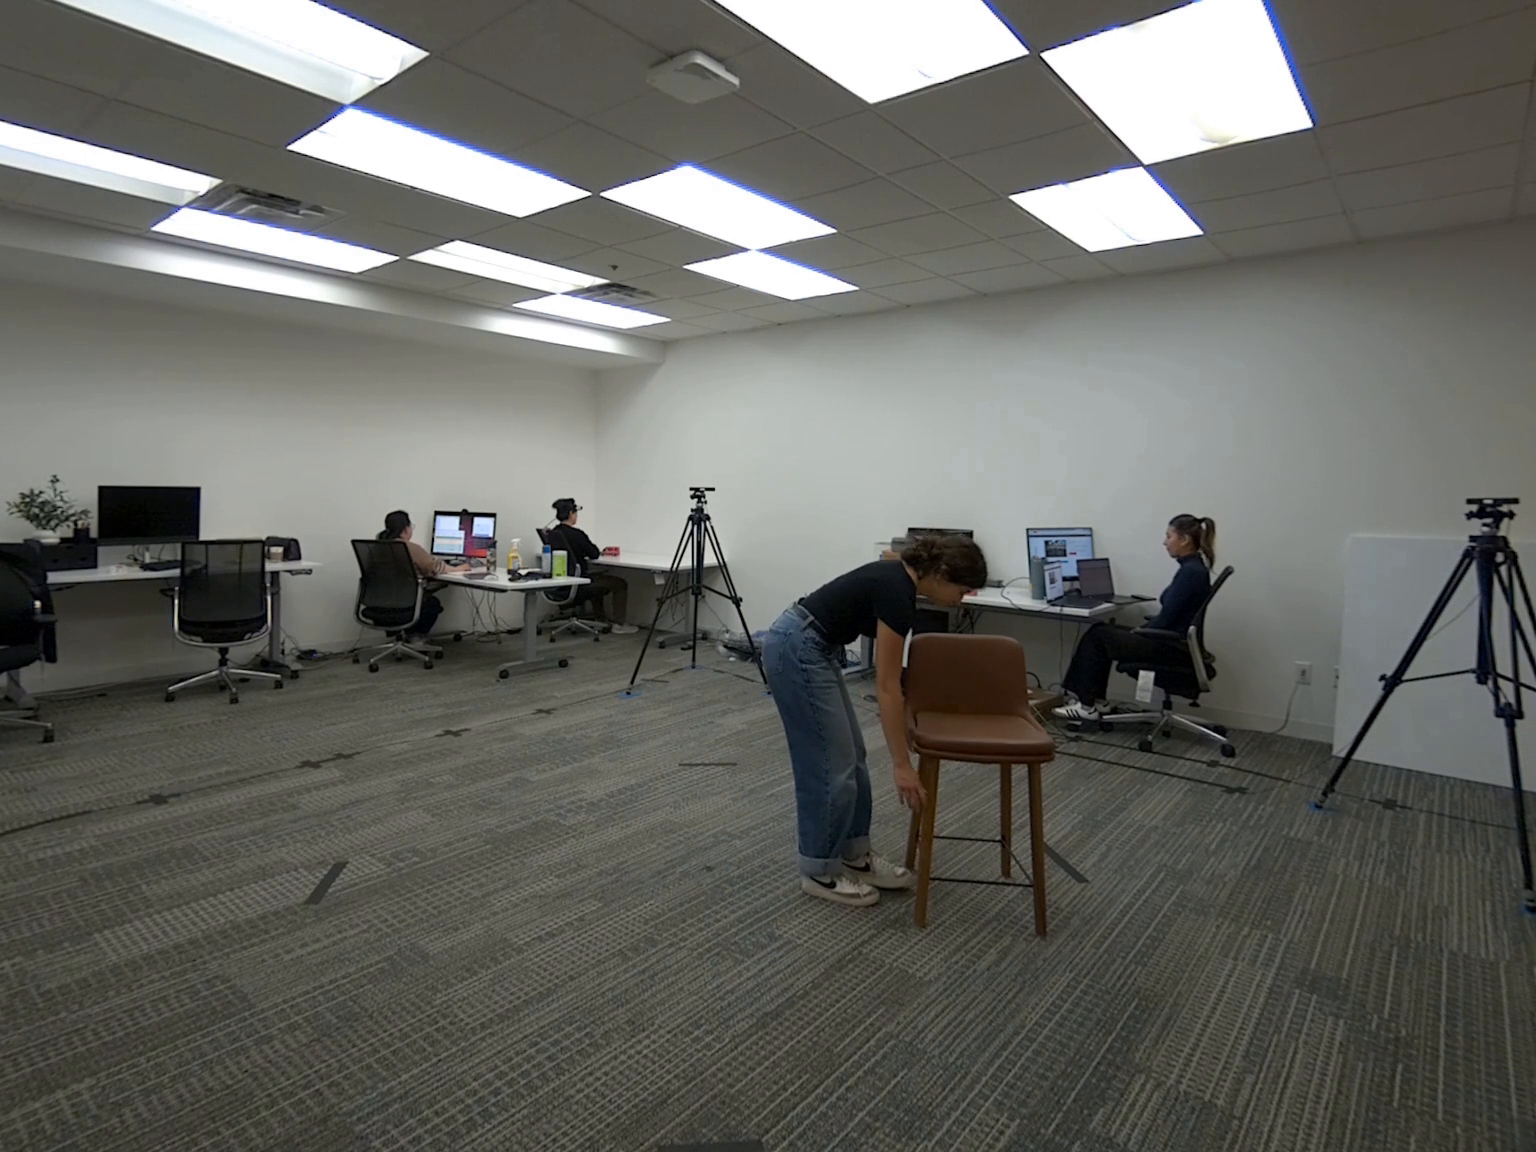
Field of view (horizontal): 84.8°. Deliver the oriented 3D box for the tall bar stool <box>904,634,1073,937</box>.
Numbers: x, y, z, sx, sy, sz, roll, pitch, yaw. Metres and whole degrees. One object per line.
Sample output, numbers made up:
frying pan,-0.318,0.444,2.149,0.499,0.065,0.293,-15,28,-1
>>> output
tall bar stool,0.698,0.675,2.900,0.460,0.888,0.465,2,2,5
